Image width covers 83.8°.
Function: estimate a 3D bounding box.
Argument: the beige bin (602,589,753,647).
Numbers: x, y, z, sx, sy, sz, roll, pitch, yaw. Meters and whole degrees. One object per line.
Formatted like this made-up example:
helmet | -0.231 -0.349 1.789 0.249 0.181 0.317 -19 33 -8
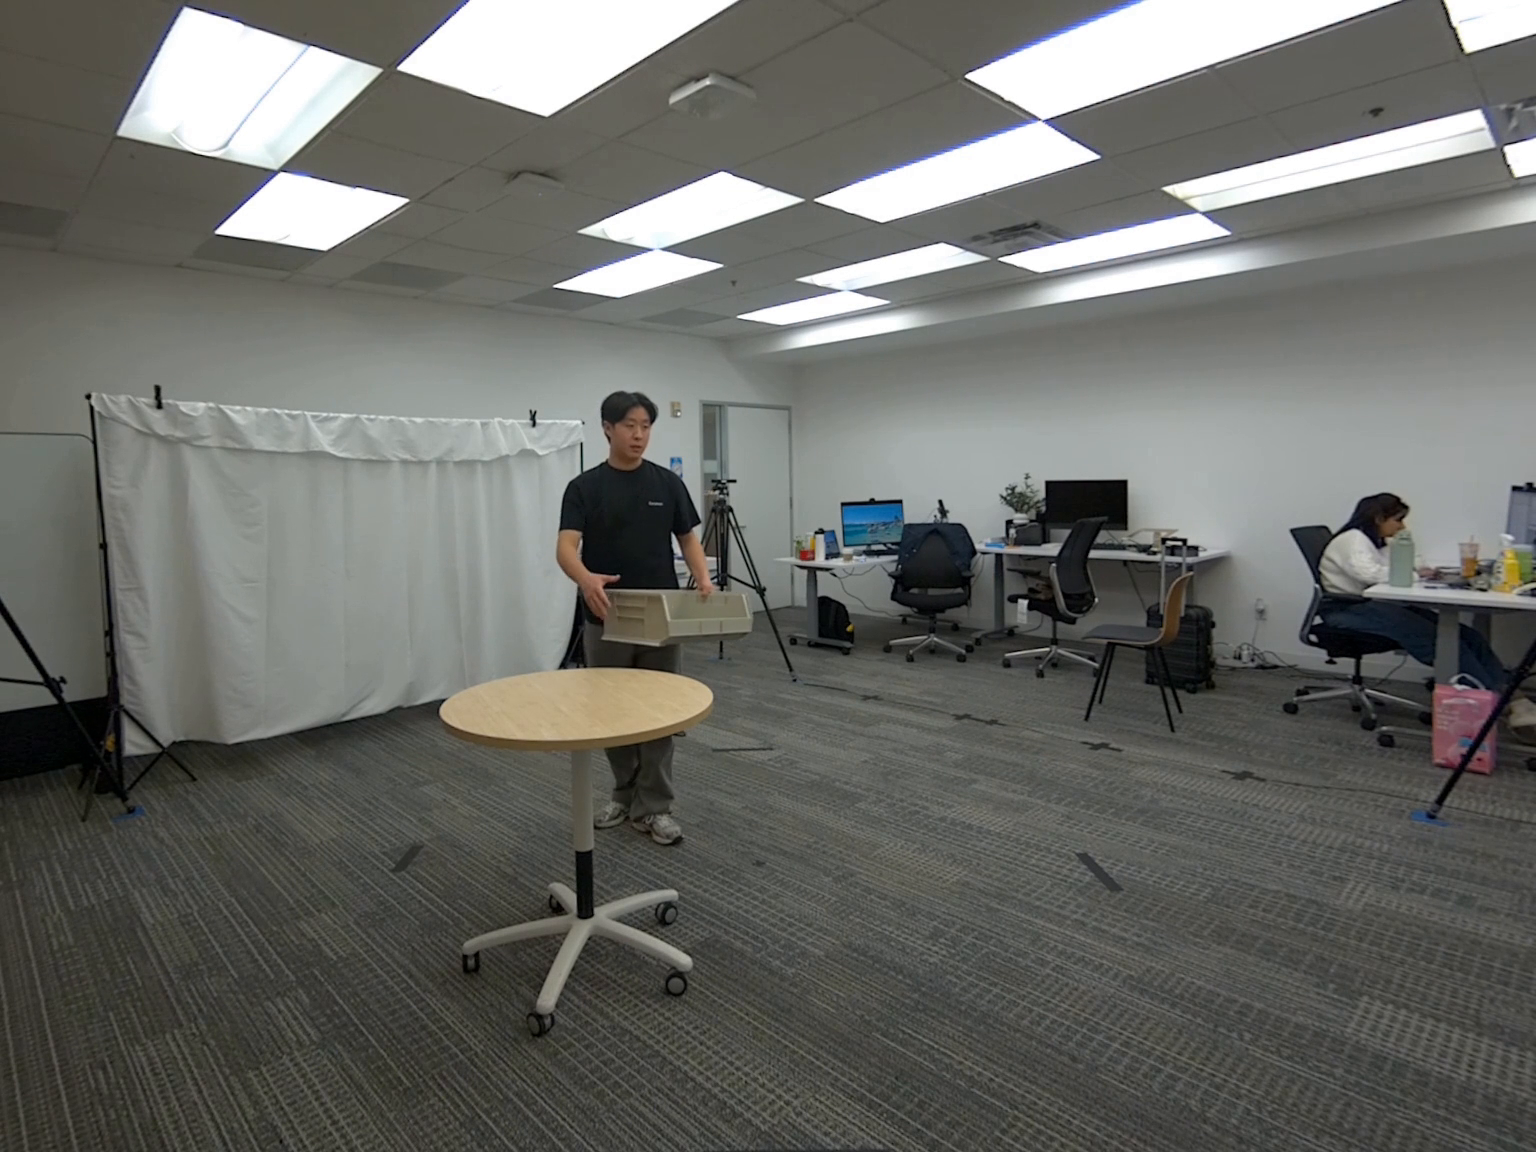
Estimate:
beige bin | -0.335 0.146 3.097 0.388 0.189 0.410 0 0 42
